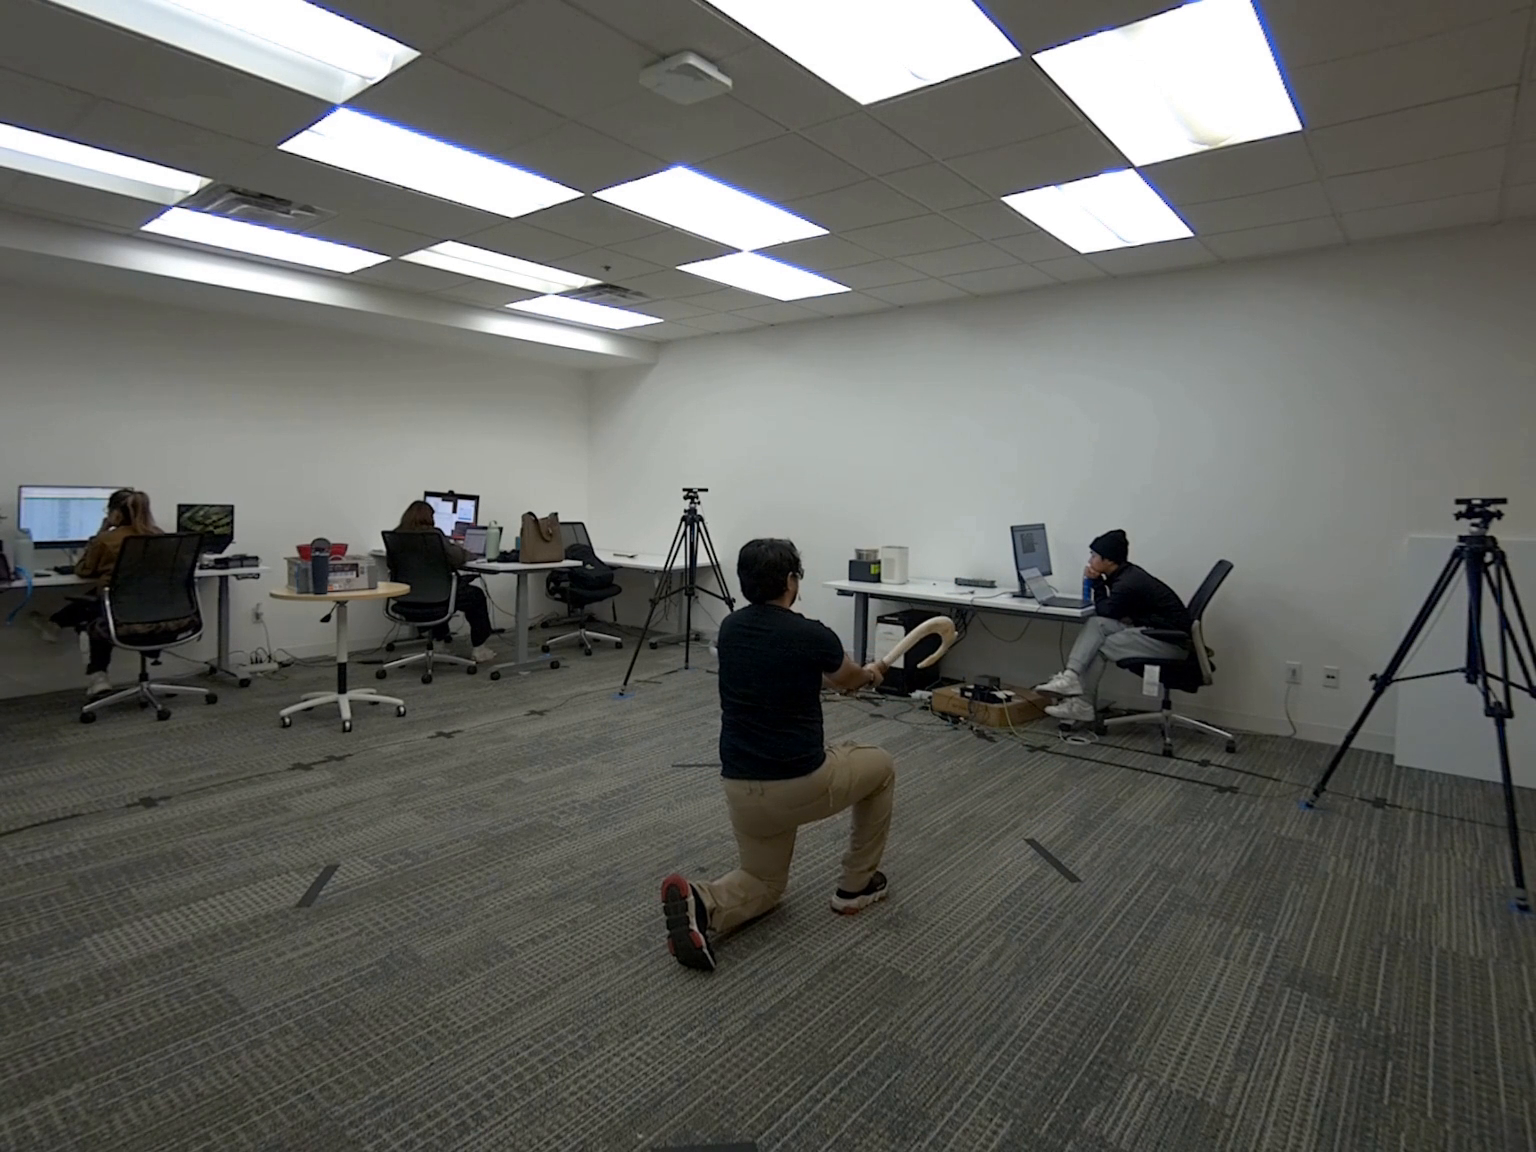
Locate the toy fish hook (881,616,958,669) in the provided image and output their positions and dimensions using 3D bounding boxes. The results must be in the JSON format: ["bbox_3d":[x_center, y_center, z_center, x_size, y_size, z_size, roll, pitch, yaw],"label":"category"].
[{"bbox_3d":[0.503,0.330,3.275,0.506,0.216,0.050,-33,35,-2],"label":"toy fish hook"}]
